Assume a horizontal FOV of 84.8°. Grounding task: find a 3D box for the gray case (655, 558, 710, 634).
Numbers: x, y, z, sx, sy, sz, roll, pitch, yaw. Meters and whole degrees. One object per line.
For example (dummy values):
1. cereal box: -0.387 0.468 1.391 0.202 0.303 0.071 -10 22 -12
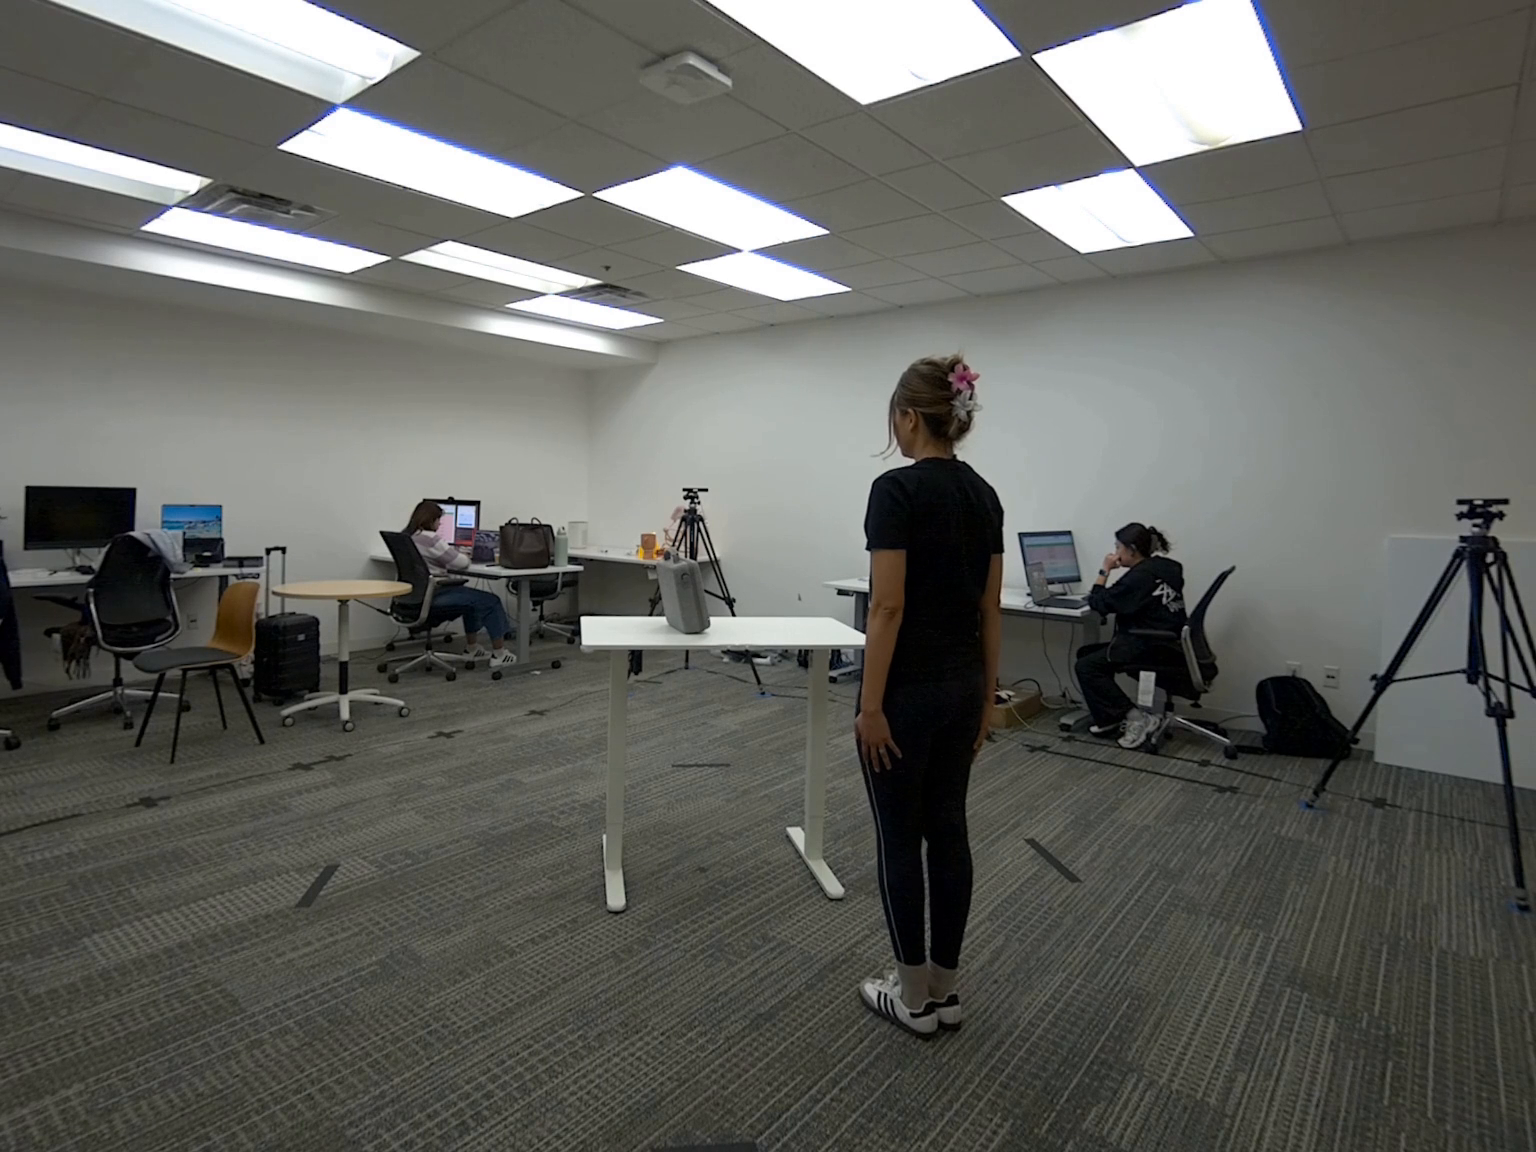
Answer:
1. gray case: -0.317 0.060 3.048 0.103 0.259 0.263 -10 7 -20
